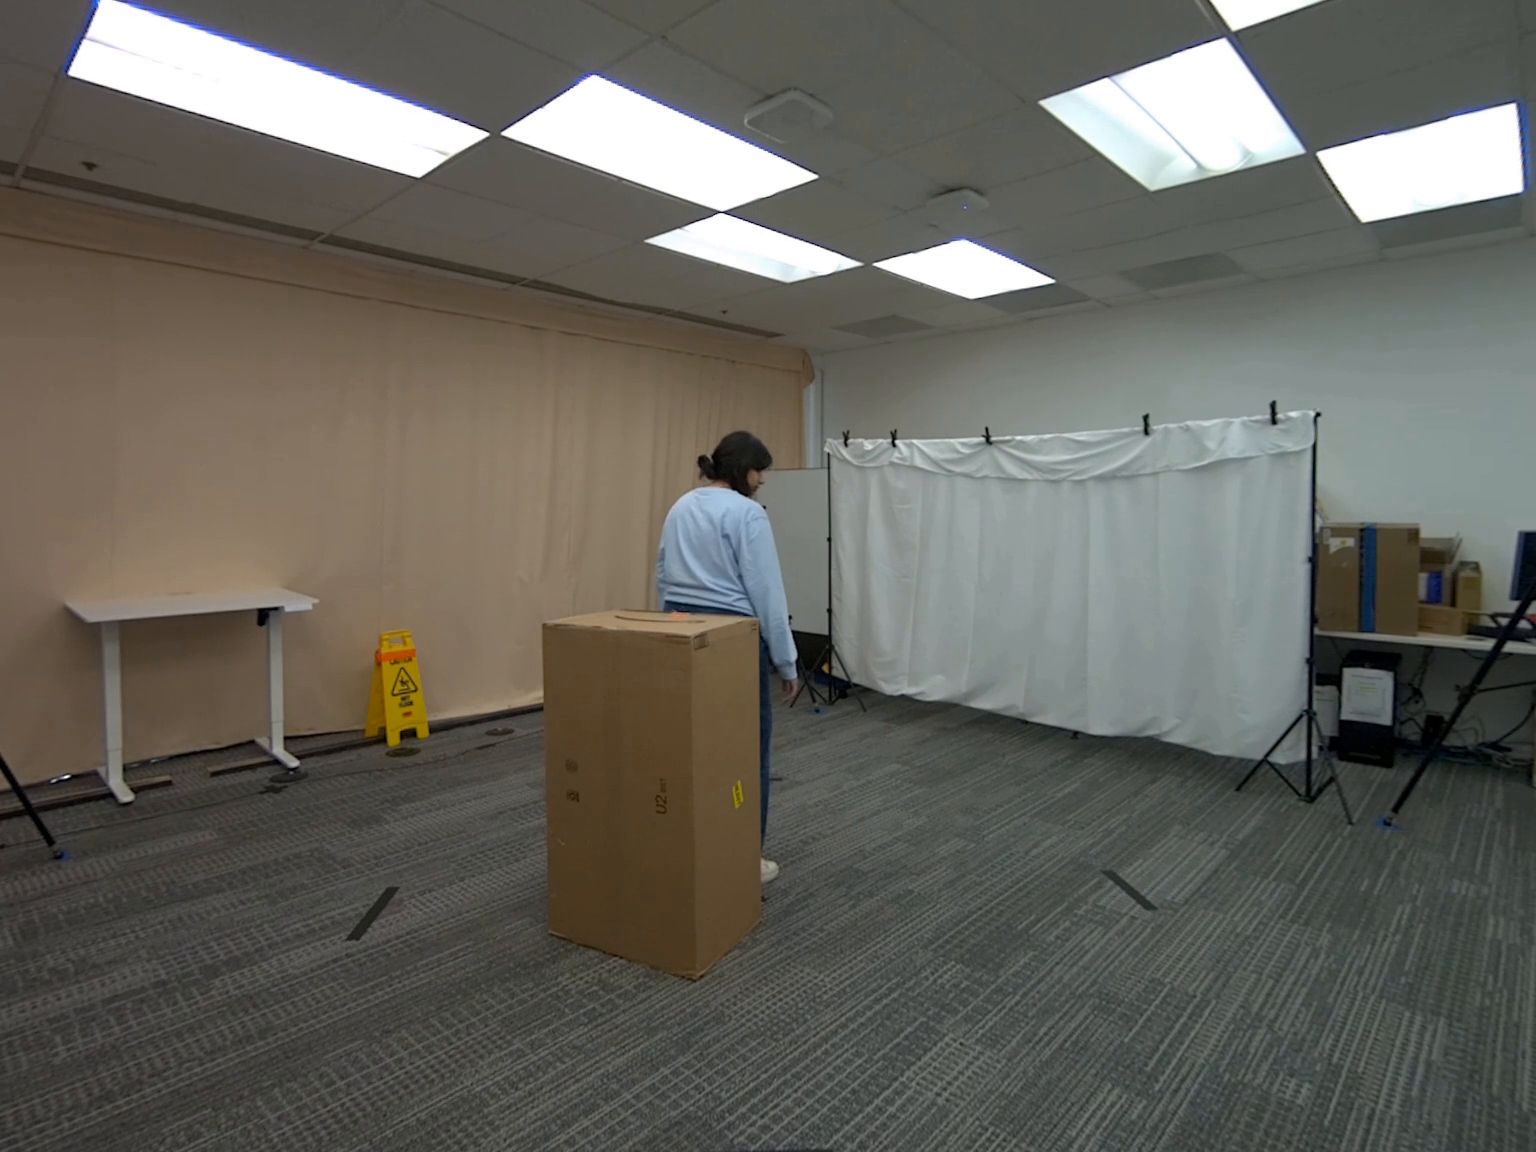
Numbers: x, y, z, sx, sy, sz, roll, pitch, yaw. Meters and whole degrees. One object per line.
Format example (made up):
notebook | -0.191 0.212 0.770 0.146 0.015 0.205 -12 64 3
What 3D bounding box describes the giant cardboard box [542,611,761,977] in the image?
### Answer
giant cardboard box | -0.378 0.654 2.766 0.594 1.024 0.415 1 3 29
